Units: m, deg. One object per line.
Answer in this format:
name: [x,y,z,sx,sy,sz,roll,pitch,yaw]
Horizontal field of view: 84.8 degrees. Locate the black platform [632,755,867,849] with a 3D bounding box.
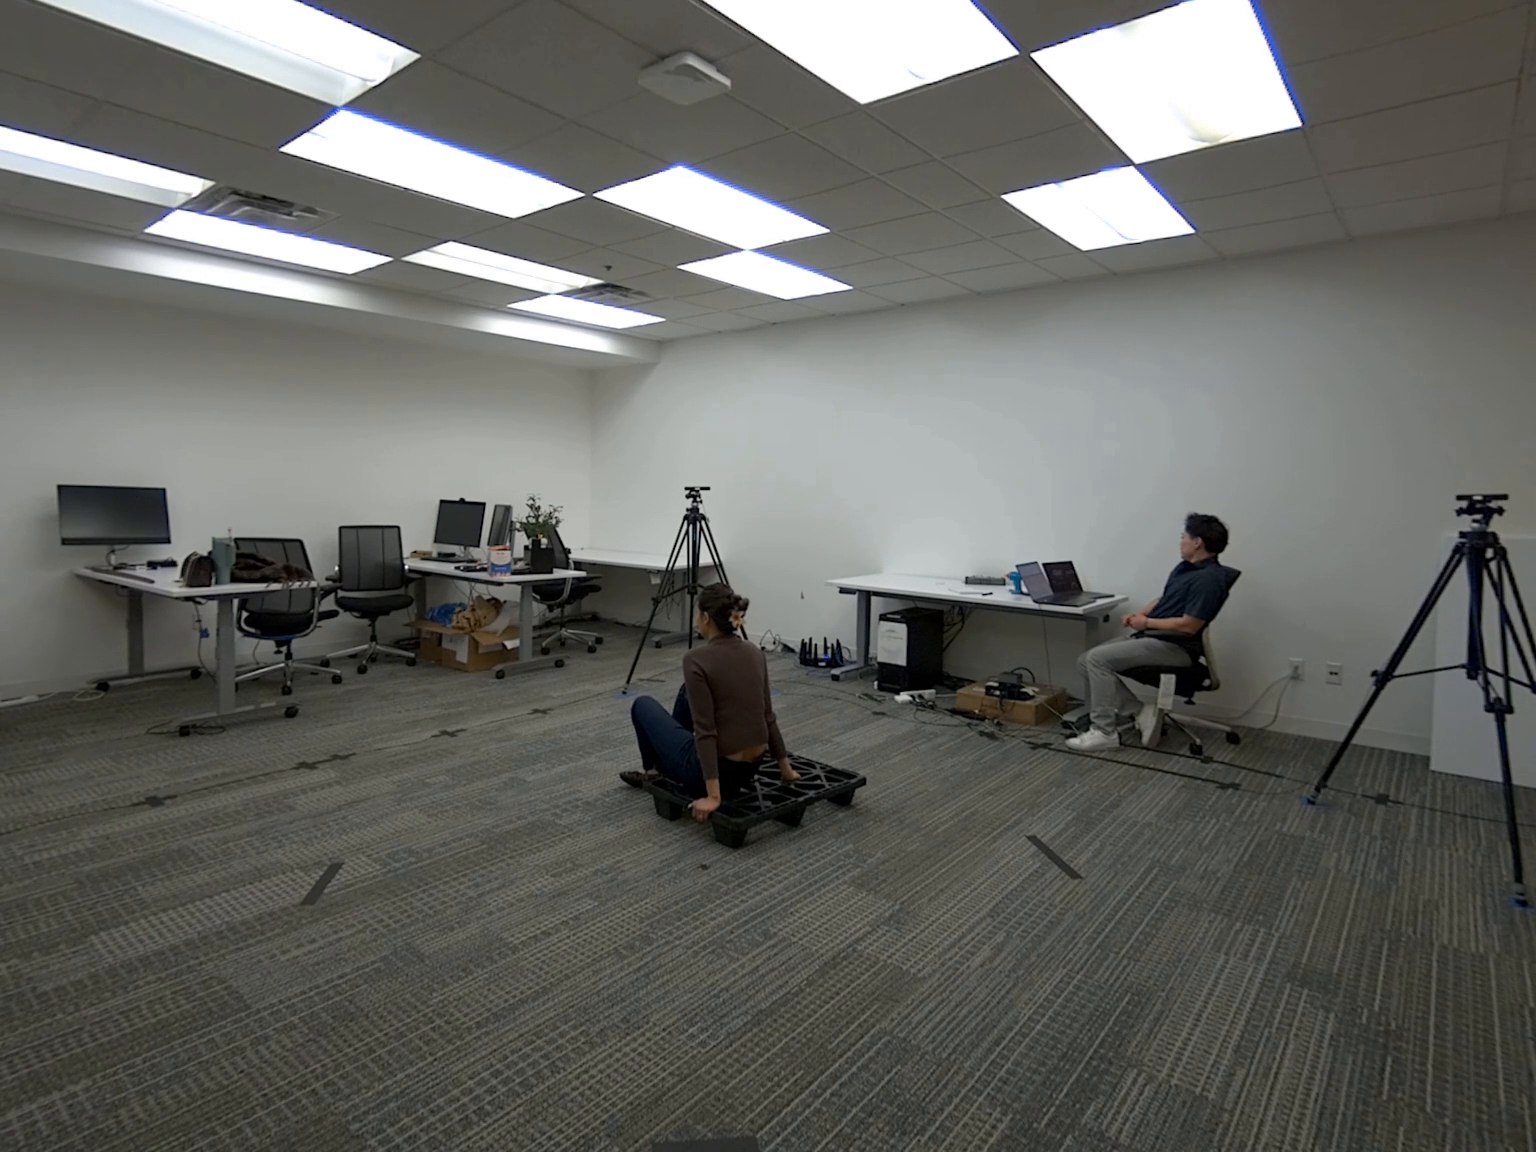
black platform: [-0.054,0.946,3.689,0.782,0.143,0.626,-5,8,-44]
